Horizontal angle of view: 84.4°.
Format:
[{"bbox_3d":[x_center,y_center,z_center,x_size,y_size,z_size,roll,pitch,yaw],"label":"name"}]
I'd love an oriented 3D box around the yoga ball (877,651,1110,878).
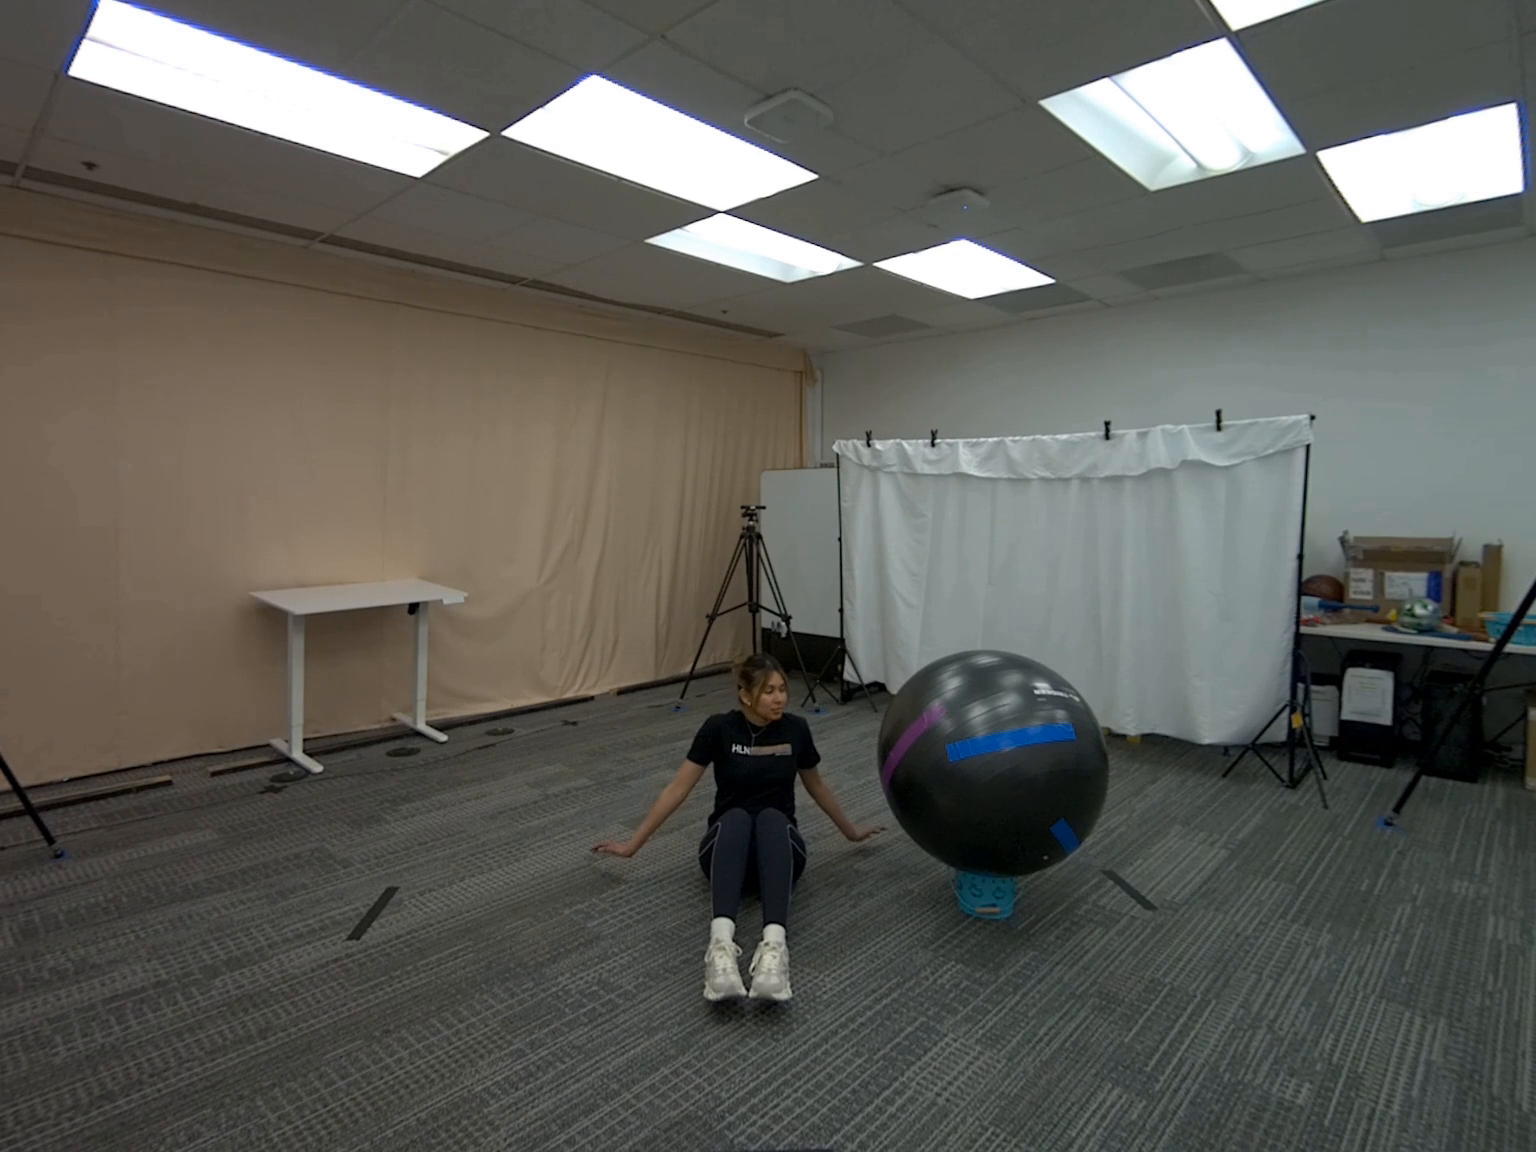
[{"bbox_3d":[0.768,0.642,2.906,0.757,0.756,0.760,0,4,-2],"label":"yoga ball"}]
